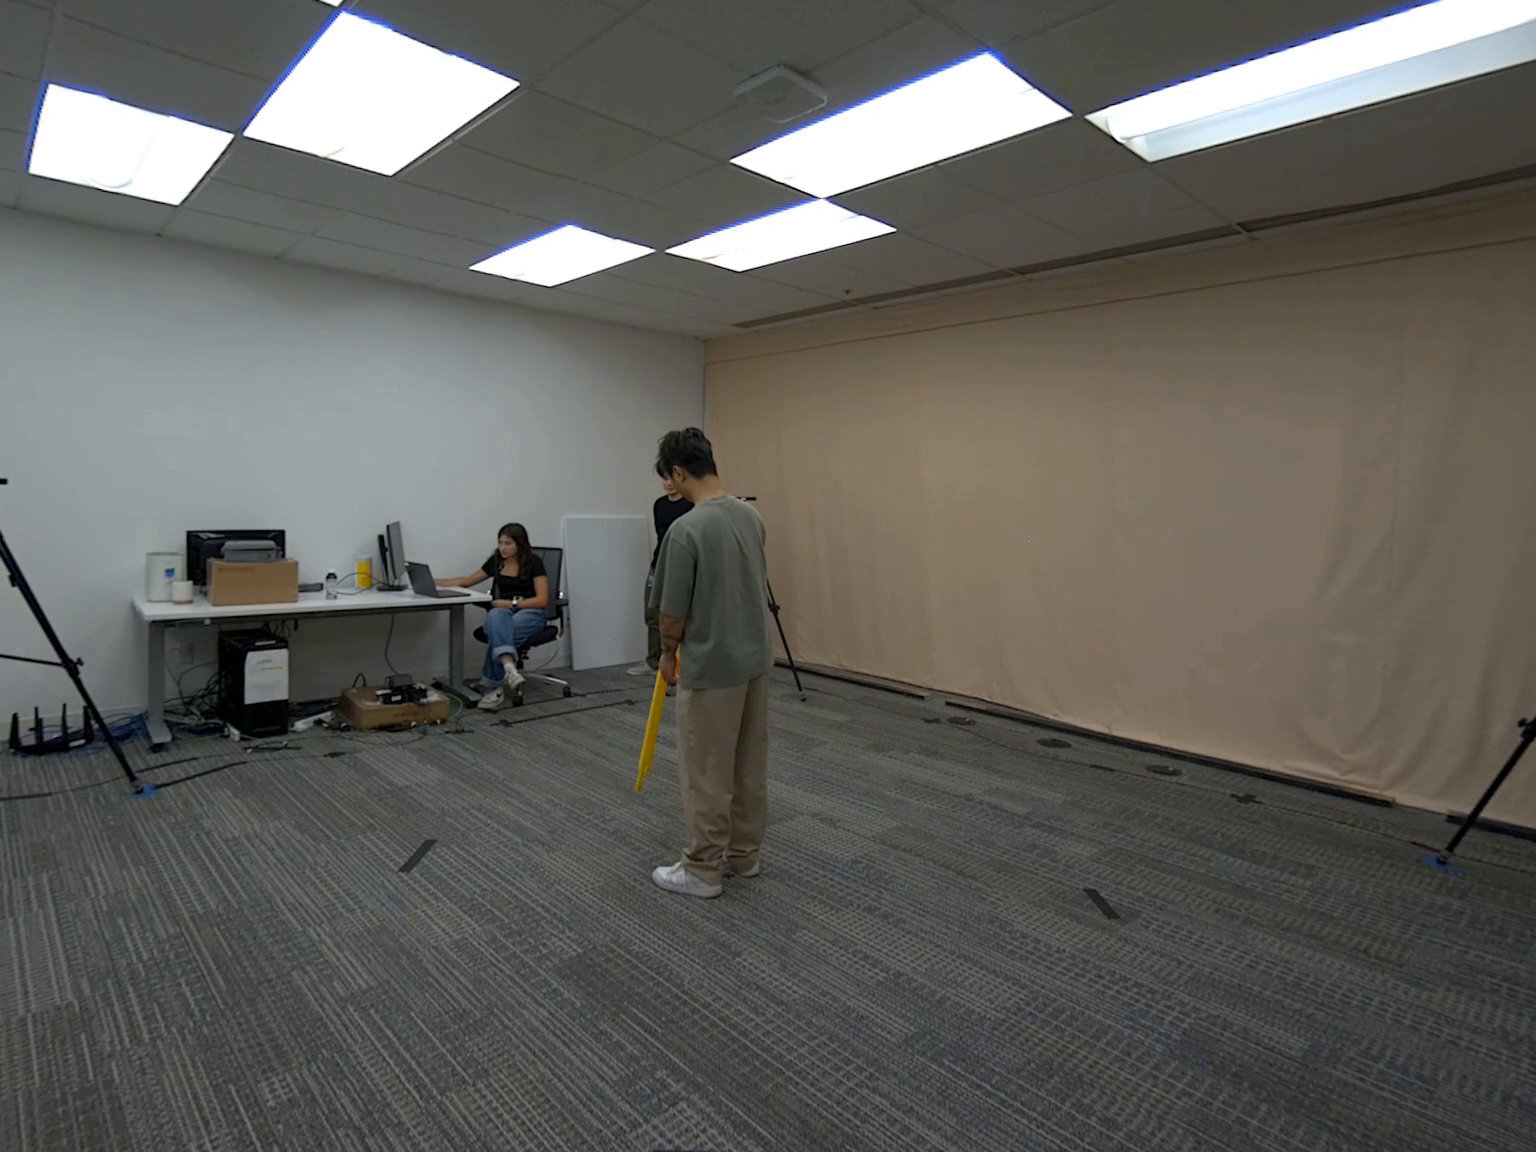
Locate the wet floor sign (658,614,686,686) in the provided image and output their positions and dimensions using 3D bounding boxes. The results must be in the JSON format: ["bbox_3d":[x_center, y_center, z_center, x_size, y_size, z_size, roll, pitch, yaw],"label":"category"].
[{"bbox_3d":[-0.396,0.527,3.426,0.291,0.644,0.282,2,4,4],"label":"wet floor sign"}]
